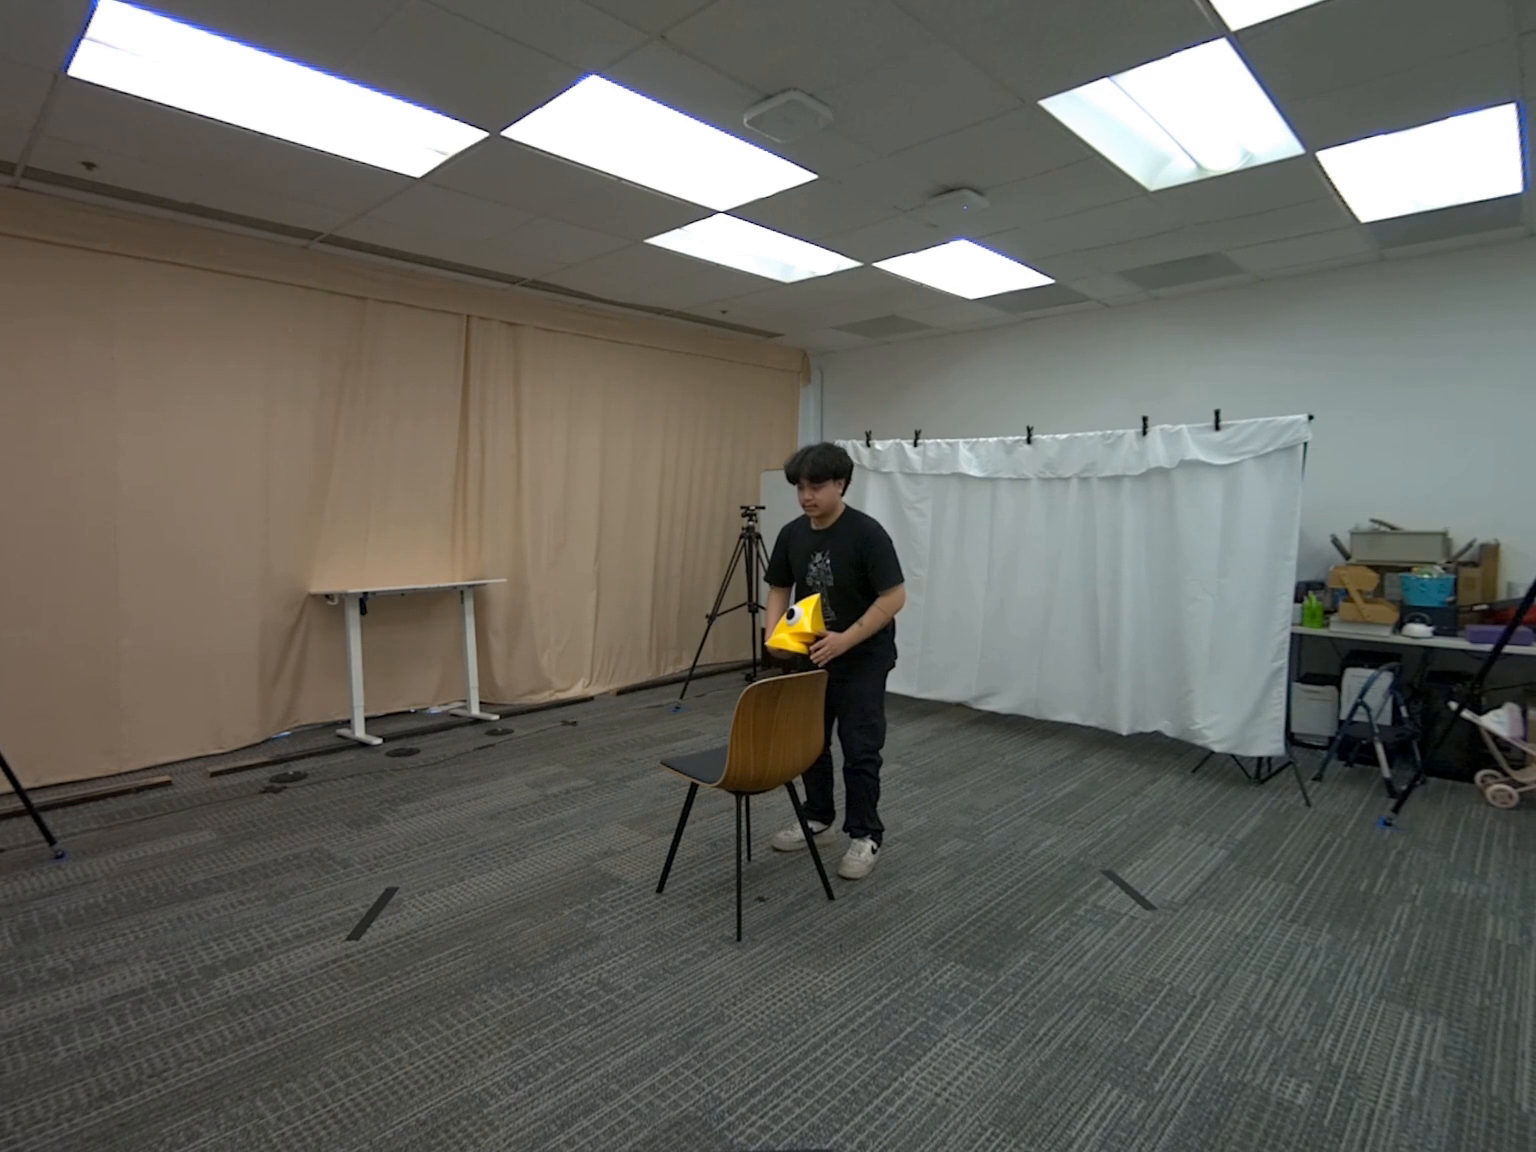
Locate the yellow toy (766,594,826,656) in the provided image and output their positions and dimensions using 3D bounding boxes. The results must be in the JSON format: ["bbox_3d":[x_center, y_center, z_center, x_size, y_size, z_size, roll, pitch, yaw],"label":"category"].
[{"bbox_3d":[0.121,0.175,3.179,0.198,0.231,0.199,10,-4,24],"label":"yellow toy"}]
